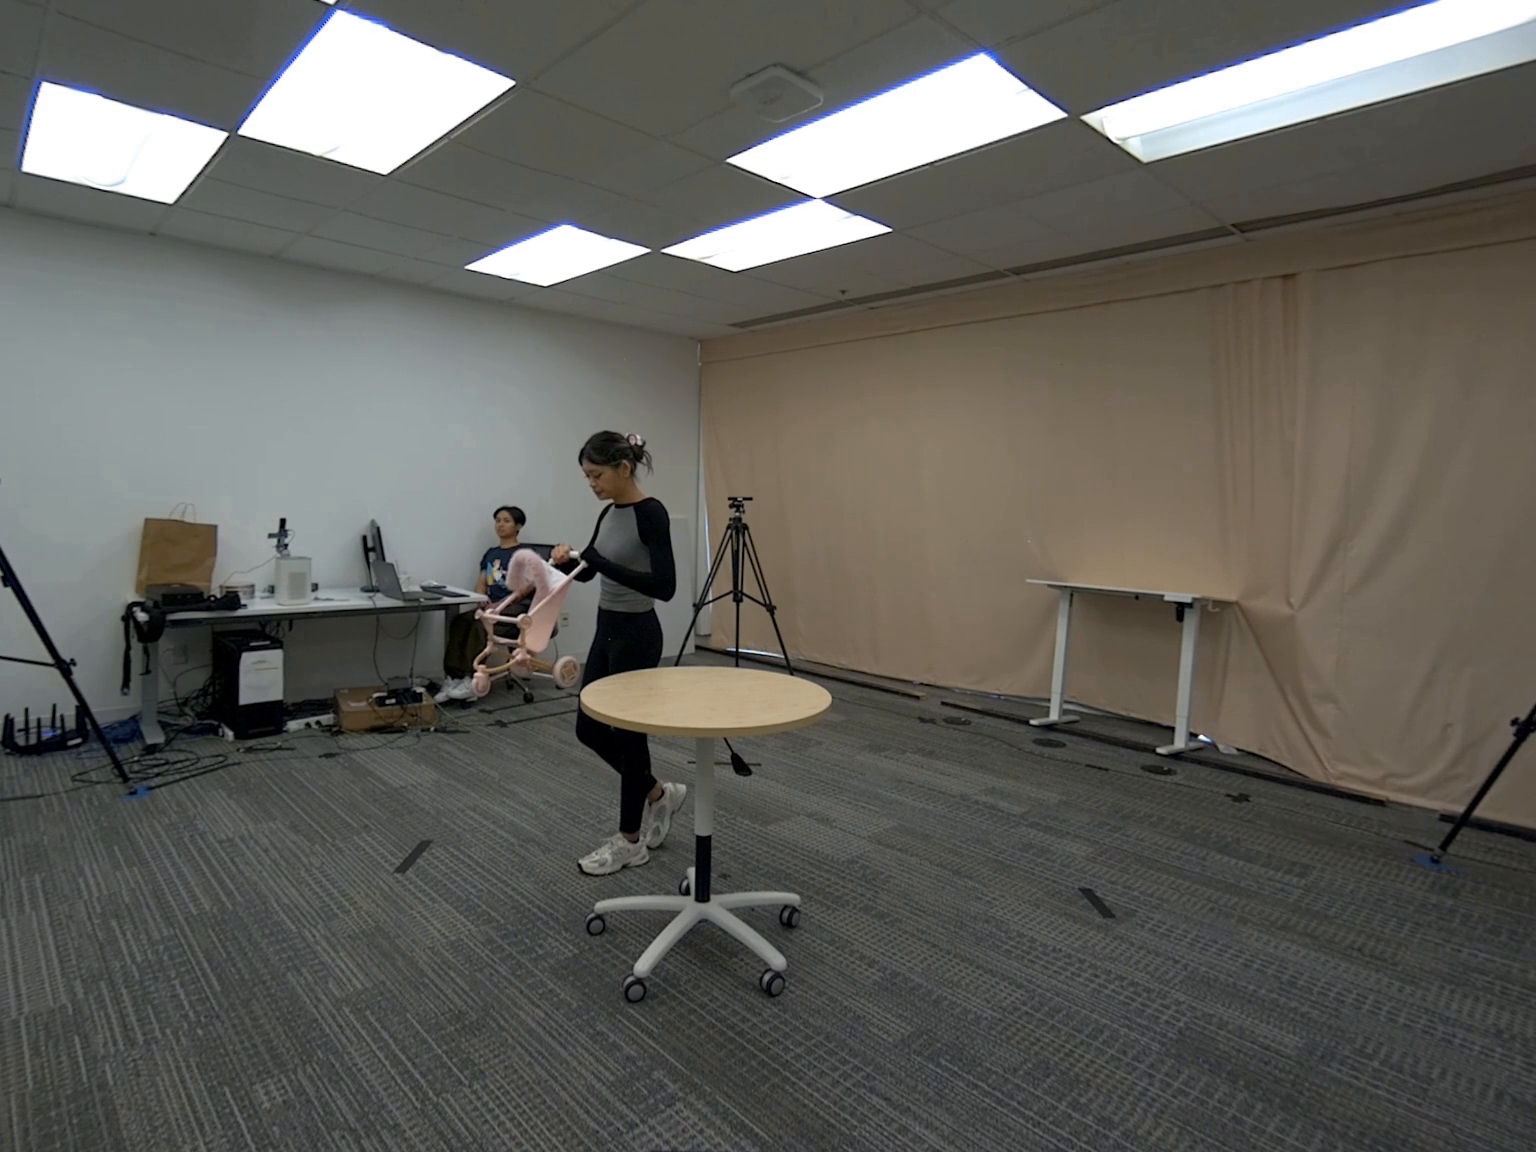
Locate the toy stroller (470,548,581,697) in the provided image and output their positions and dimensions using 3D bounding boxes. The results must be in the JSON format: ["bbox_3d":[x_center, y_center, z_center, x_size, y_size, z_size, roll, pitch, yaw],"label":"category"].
[{"bbox_3d":[-0.829,0.152,2.851,0.288,0.537,0.332,4,-7,45],"label":"toy stroller"}]
